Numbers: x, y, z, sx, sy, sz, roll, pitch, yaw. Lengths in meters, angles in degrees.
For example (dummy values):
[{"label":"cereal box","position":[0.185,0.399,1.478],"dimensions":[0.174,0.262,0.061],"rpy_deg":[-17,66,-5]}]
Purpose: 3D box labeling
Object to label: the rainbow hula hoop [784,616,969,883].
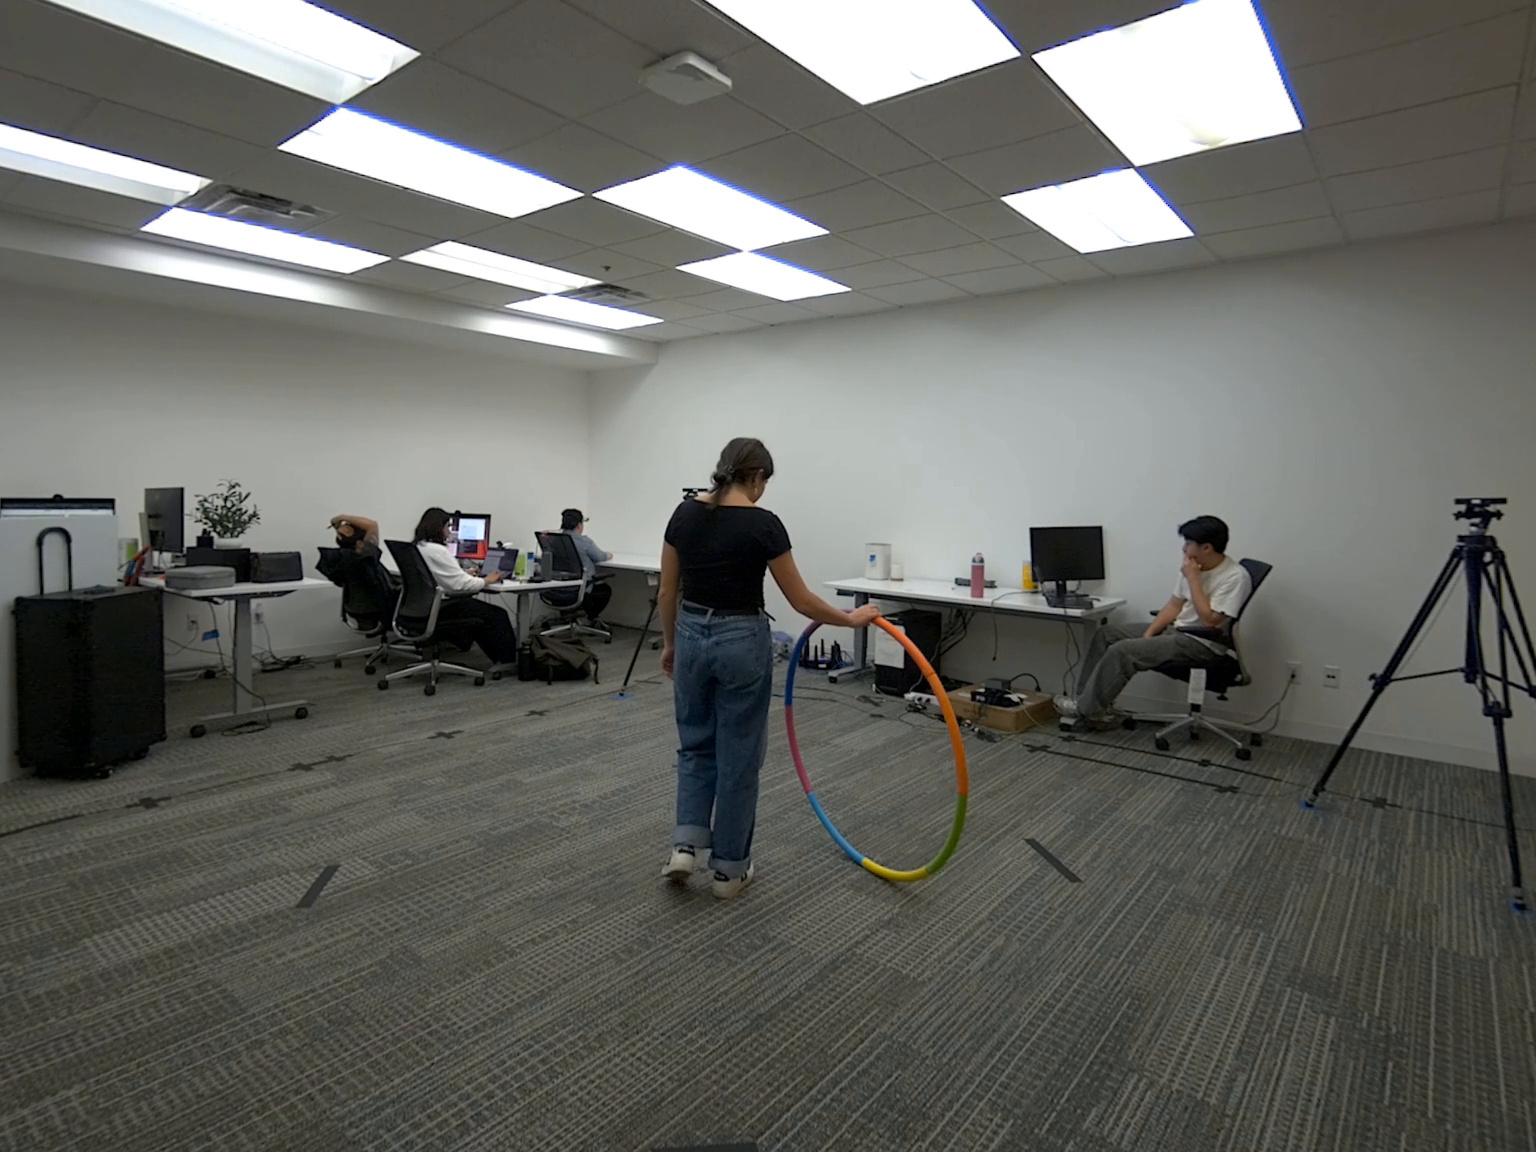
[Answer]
[{"label":"rainbow hula hoop","position":[0.347,0.591,3.092],"dimensions":[0.035,0.972,1.009],"rpy_deg":[-7,8,-31]}]
